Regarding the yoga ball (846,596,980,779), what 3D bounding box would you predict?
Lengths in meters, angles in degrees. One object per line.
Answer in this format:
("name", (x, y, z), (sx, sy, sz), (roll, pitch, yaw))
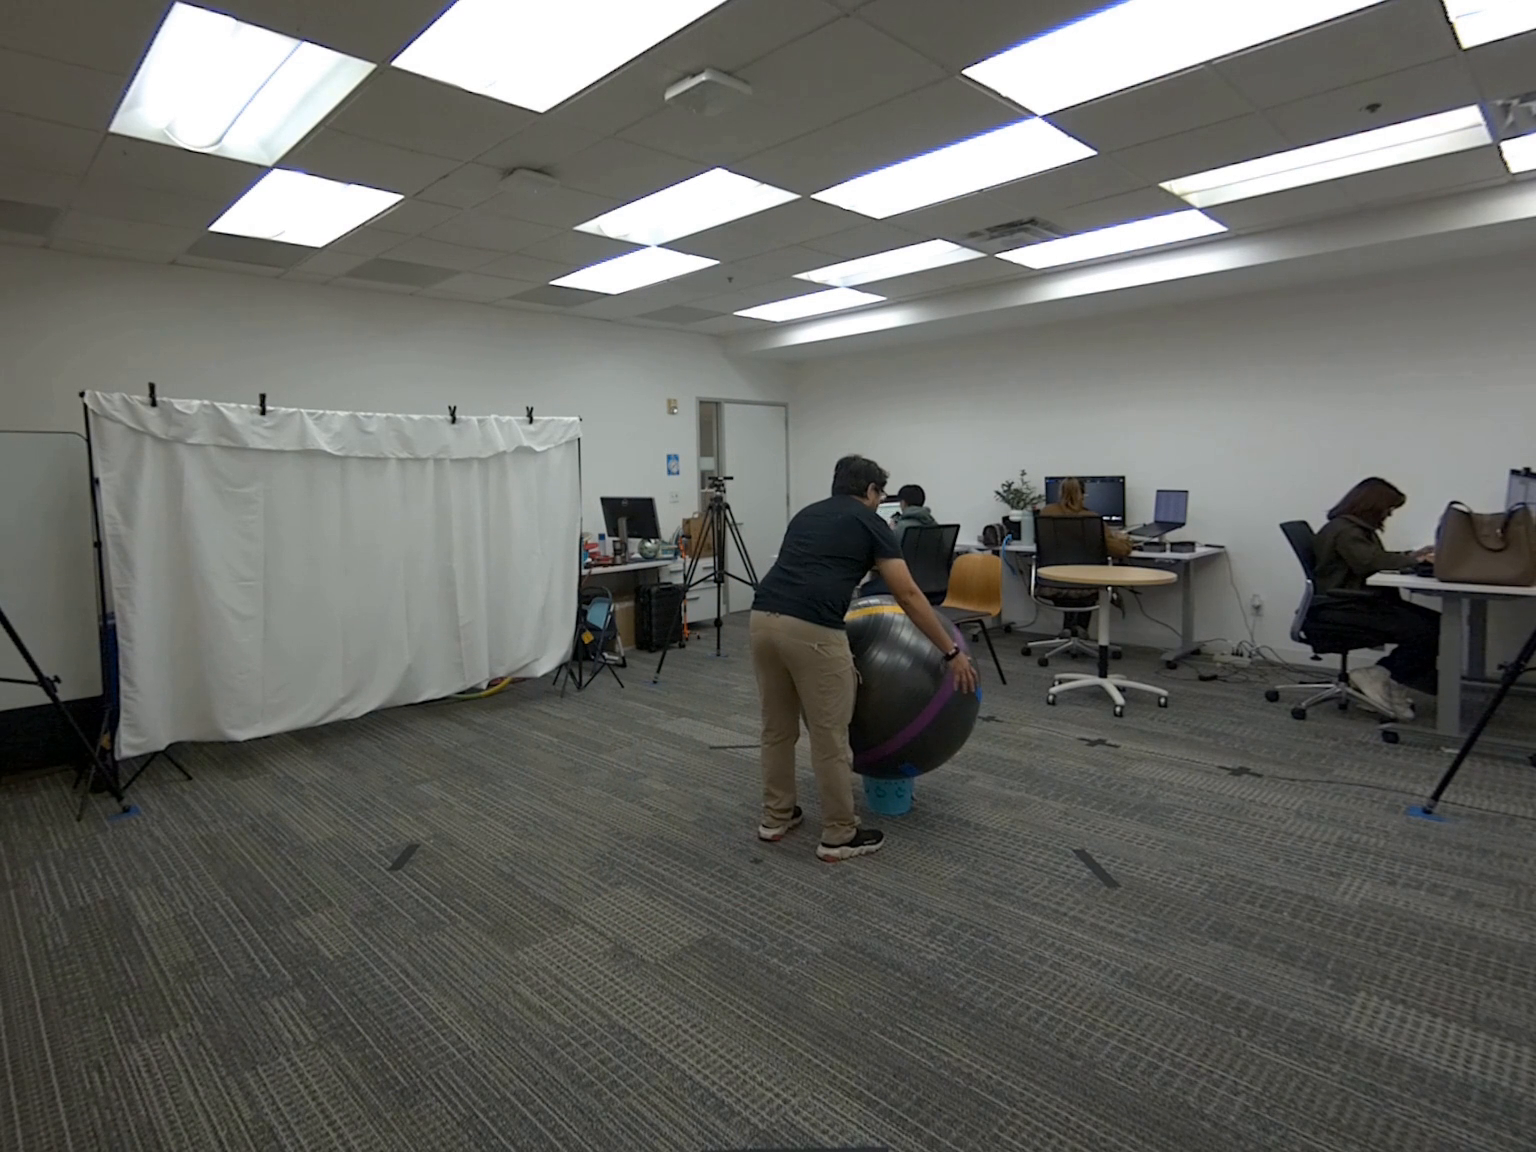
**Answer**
("yoga ball", (0.500, 0.468, 3.572), (0.757, 0.755, 0.762), (-1, 5, -2))
